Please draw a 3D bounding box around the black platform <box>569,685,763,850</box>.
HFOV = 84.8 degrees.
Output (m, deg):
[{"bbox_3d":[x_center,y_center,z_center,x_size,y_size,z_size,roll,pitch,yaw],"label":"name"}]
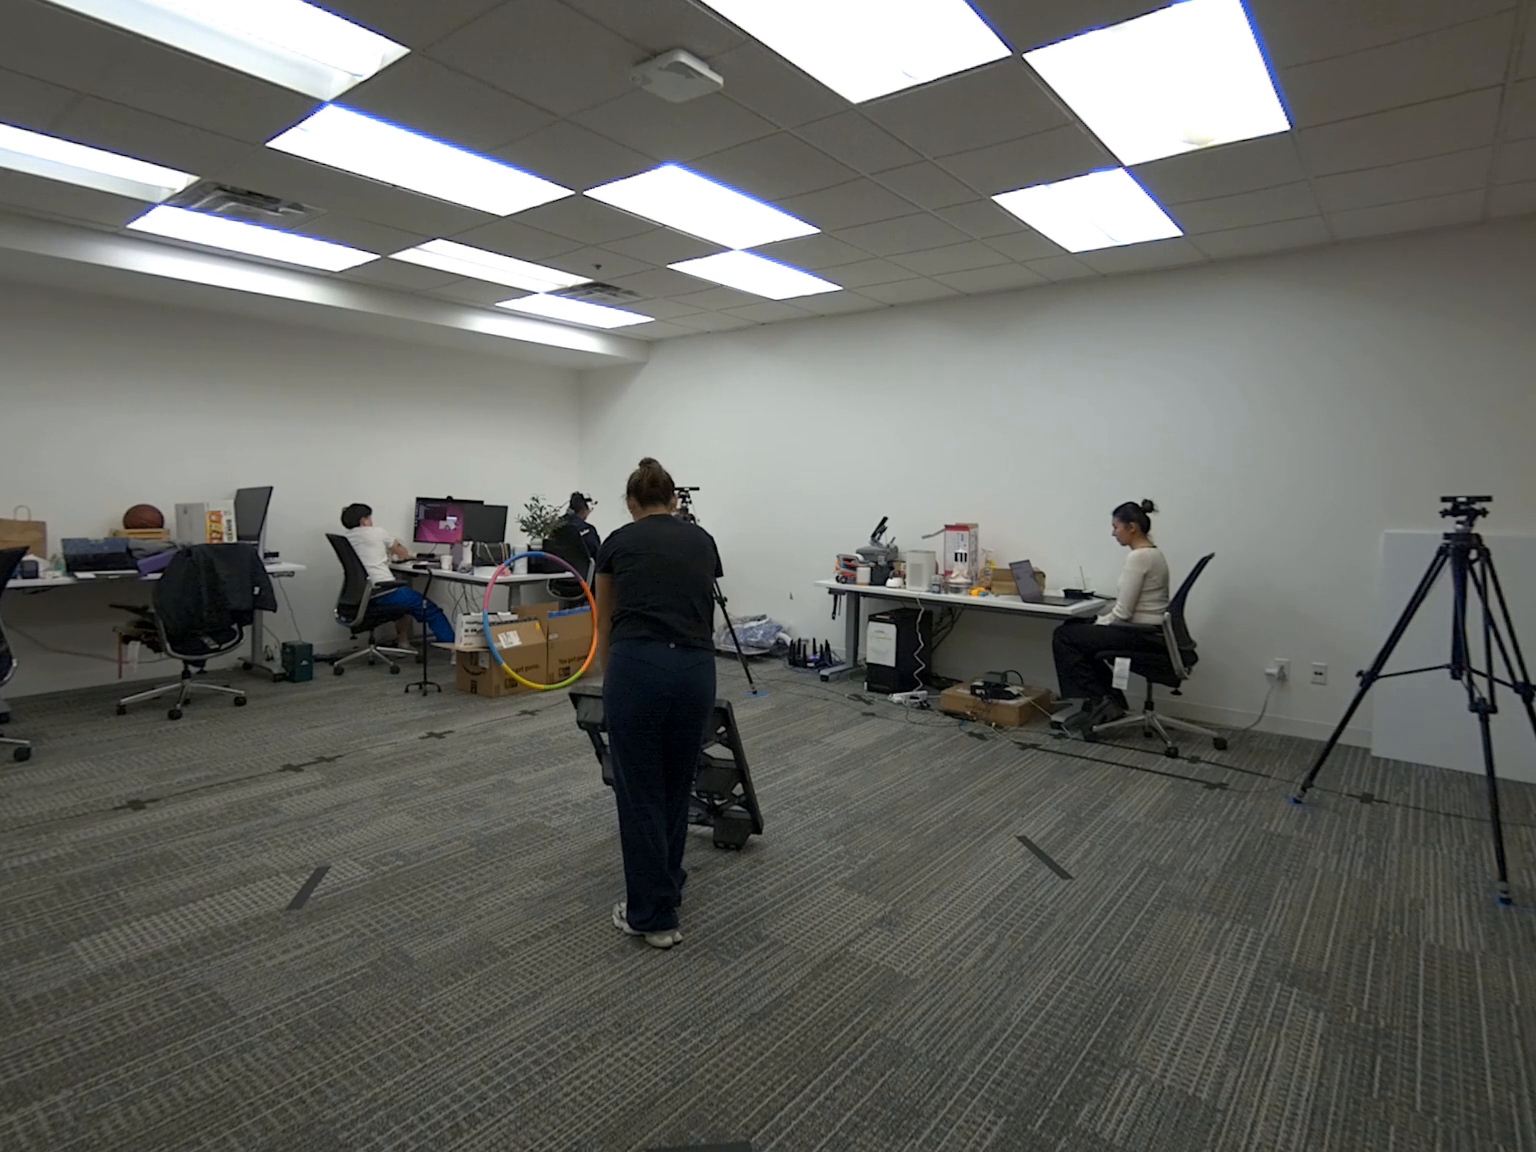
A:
[{"bbox_3d":[-0.361,0.735,3.169,0.617,0.778,0.145,4,42,18],"label":"black platform"}]
